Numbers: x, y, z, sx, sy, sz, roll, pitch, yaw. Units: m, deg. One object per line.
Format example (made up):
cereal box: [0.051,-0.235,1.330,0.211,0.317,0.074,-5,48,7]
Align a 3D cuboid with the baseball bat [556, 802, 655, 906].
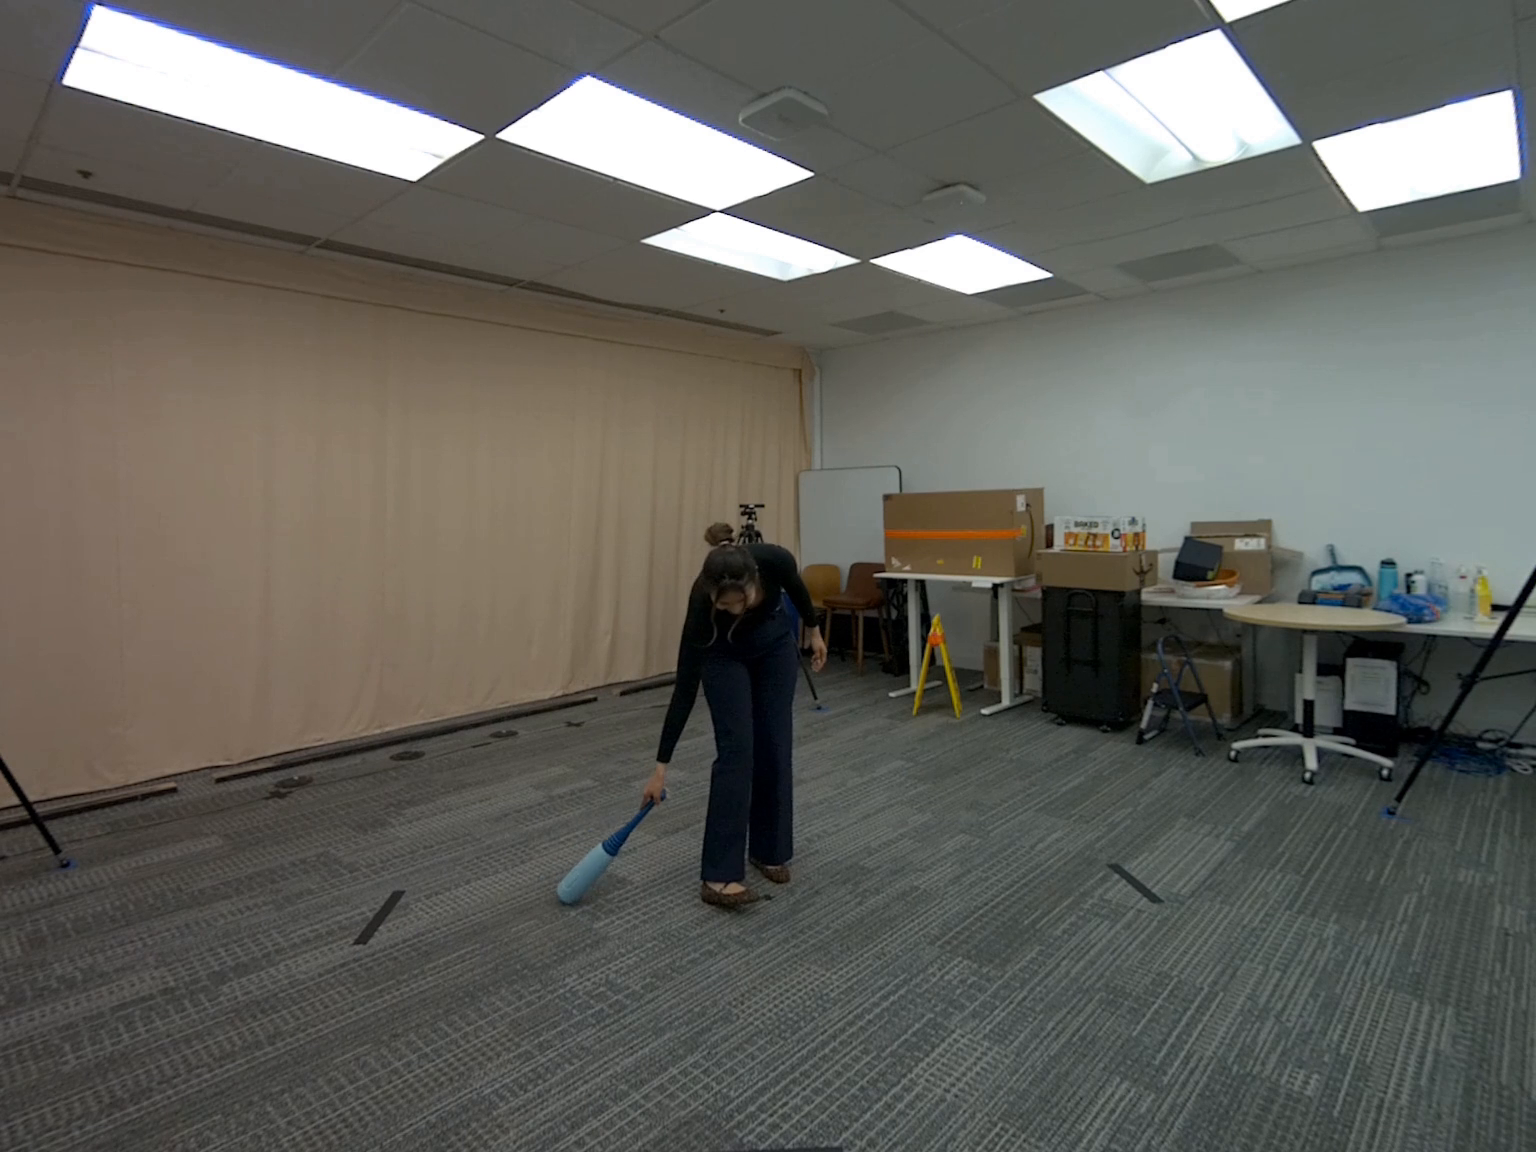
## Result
baseball bat: [-0.539,0.940,2.929,0.088,0.544,0.090,41,9,-10]
